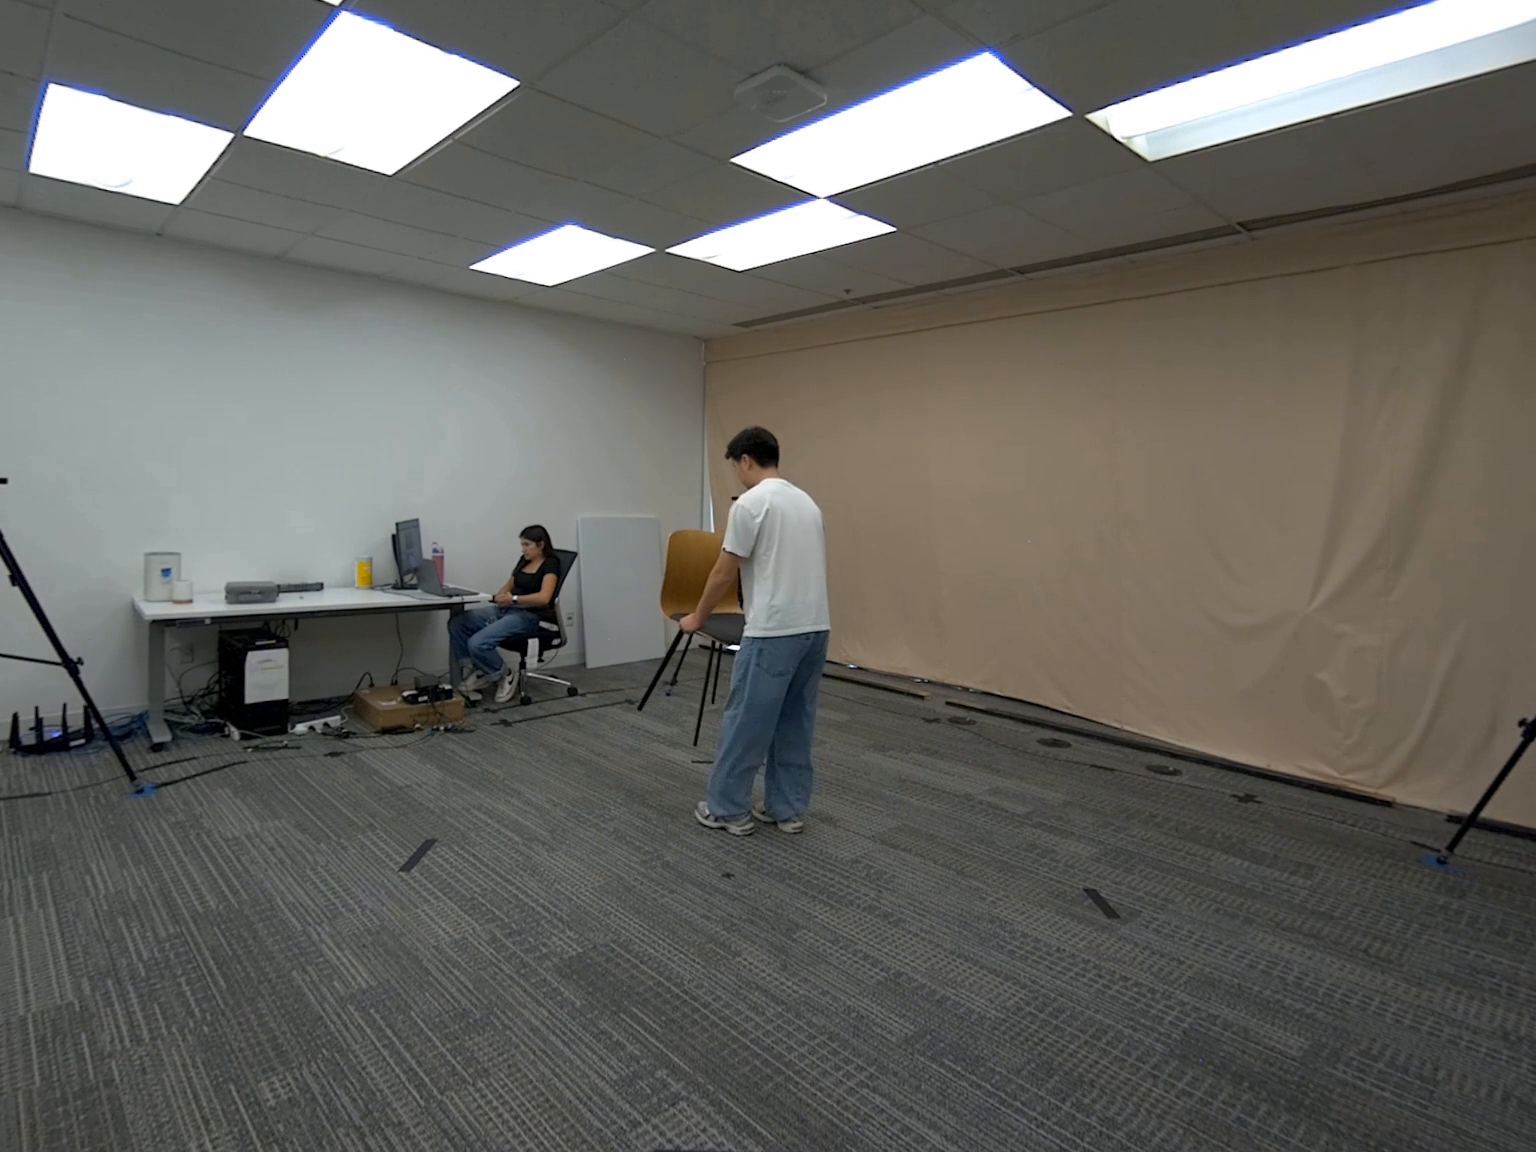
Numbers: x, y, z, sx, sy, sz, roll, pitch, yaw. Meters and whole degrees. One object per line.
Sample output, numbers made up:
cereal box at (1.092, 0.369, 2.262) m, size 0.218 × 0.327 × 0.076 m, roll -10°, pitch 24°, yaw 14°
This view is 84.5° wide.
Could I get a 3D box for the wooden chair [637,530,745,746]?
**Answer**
wooden chair at (-0.221, 0.265, 3.761) m, size 0.466 × 0.875 × 0.537 m, roll 3°, pitch 6°, yaw -40°
